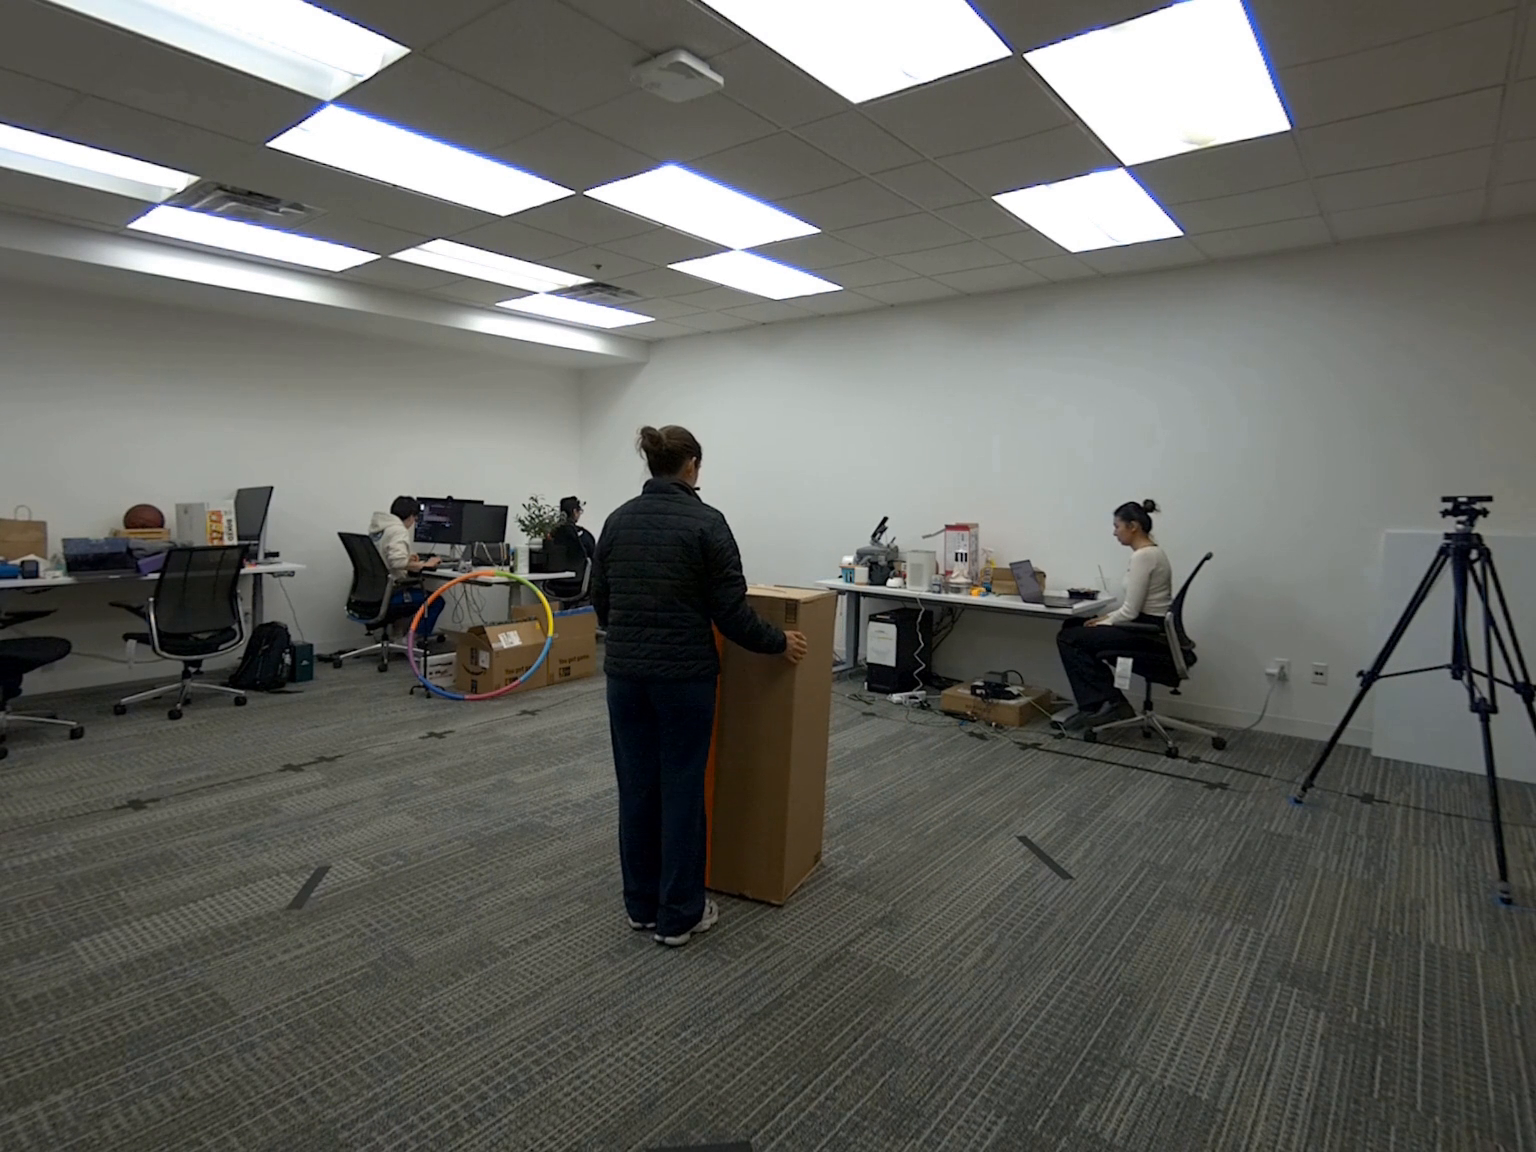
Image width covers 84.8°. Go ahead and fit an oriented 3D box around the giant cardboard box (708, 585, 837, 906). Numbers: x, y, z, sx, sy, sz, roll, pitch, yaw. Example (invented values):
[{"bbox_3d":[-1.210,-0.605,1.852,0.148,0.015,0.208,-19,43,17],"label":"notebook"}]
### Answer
[{"bbox_3d":[-0.093,0.553,3.124,0.593,1.025,0.415,4,1,25],"label":"giant cardboard box"}]
